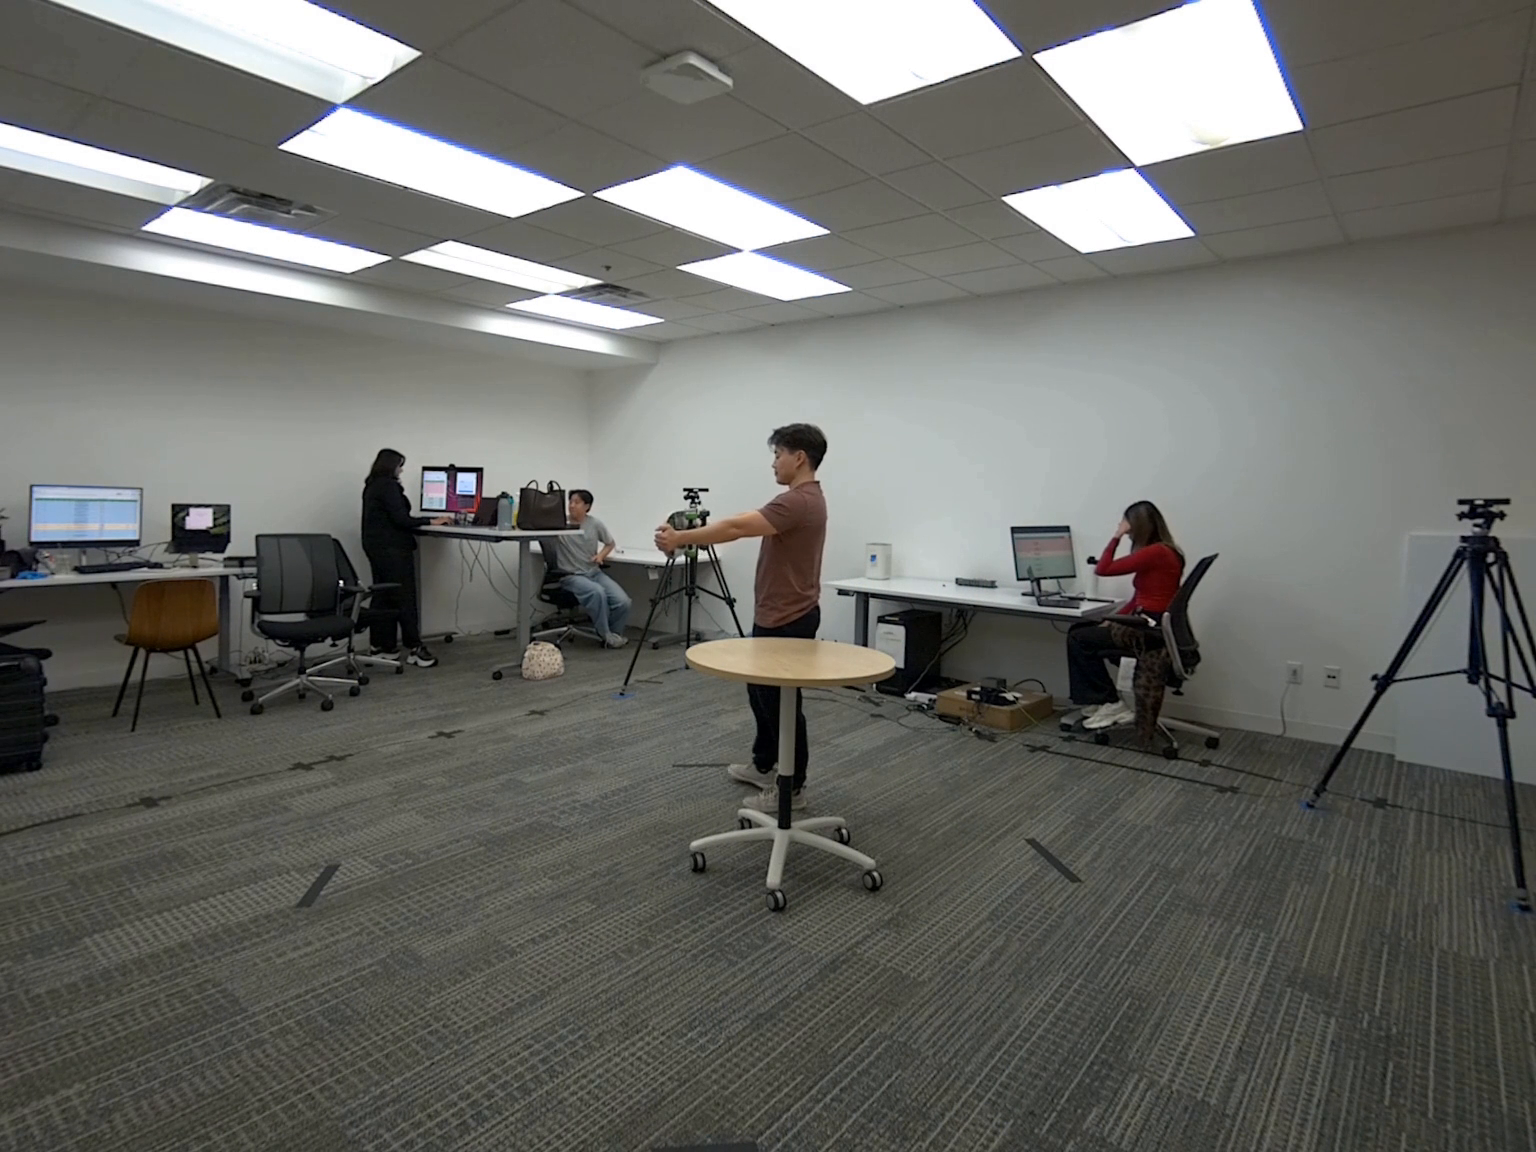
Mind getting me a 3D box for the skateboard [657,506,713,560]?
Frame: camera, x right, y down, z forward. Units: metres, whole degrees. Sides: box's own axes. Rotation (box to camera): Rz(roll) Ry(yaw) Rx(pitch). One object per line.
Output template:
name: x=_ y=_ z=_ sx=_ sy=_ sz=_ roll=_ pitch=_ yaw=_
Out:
skateboard: x=-0.354 y=-0.203 z=3.698 sx=0.111 sy=0.193 sz=0.784 roll=-2 pitch=5 yaw=4
